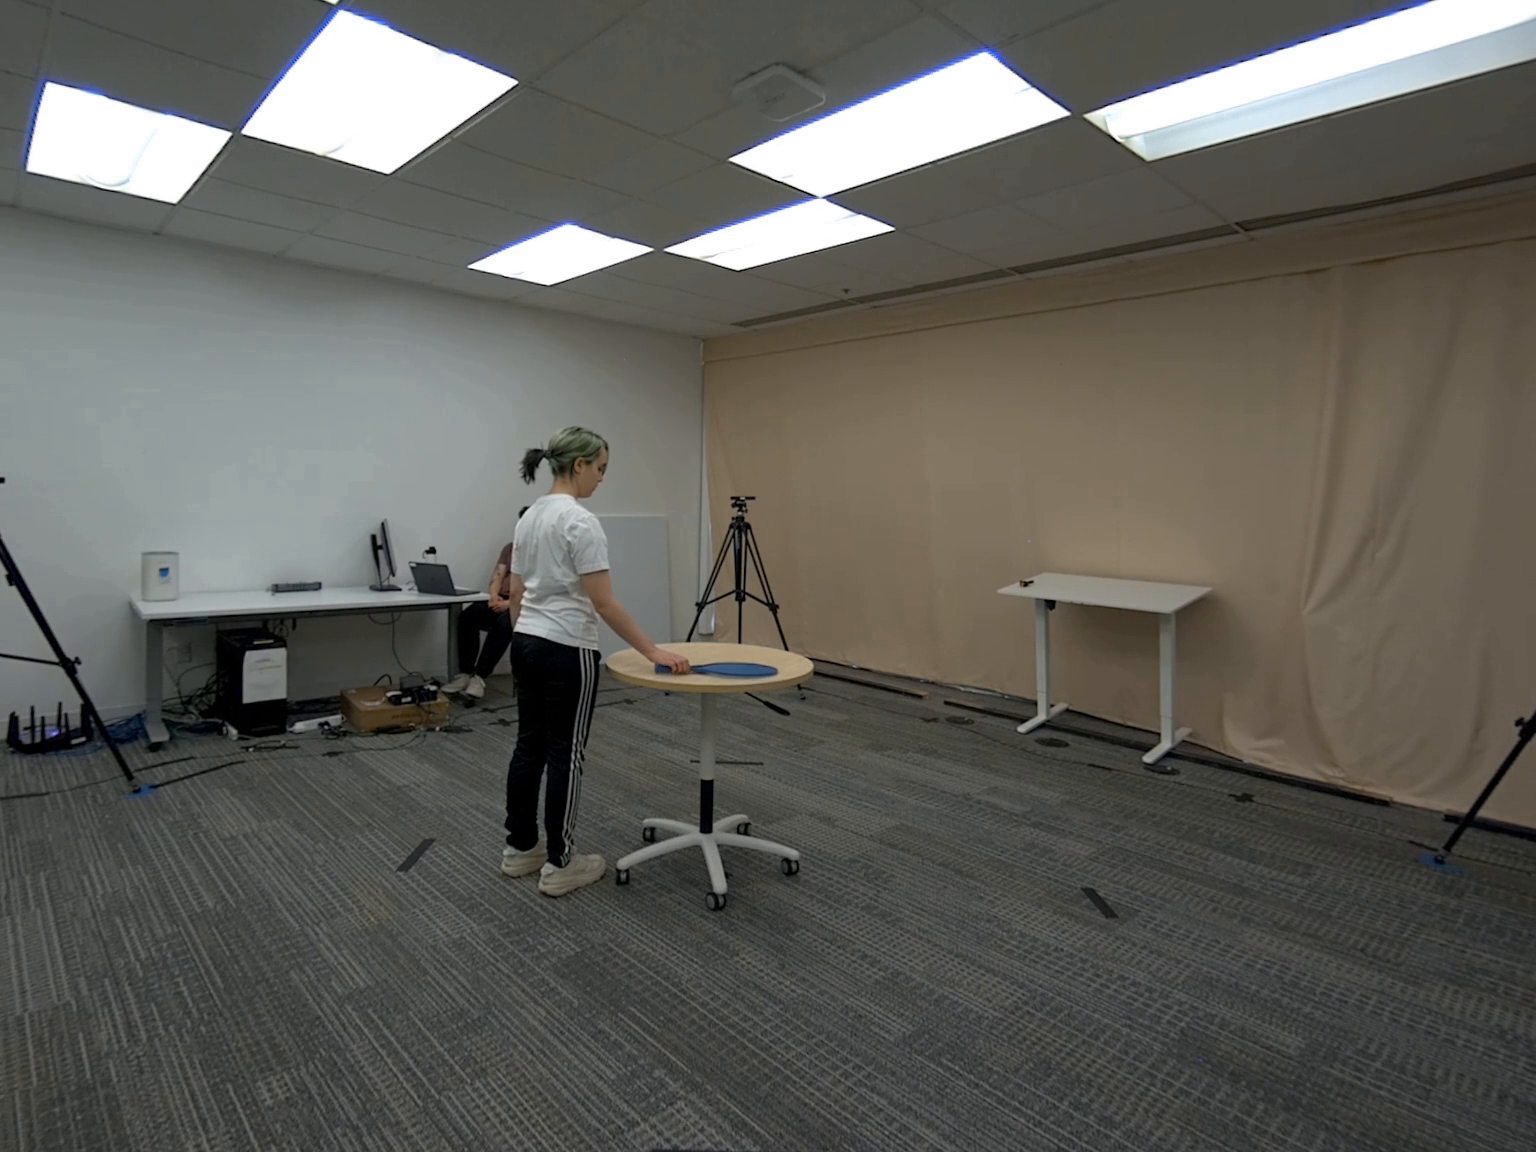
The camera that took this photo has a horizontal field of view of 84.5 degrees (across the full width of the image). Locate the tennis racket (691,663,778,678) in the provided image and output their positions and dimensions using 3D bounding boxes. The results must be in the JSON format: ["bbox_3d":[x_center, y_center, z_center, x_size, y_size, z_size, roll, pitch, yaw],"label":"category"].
[{"bbox_3d":[-0.186,0.324,2.929,0.431,0.032,0.215,3,4,-5],"label":"tennis racket"}]
